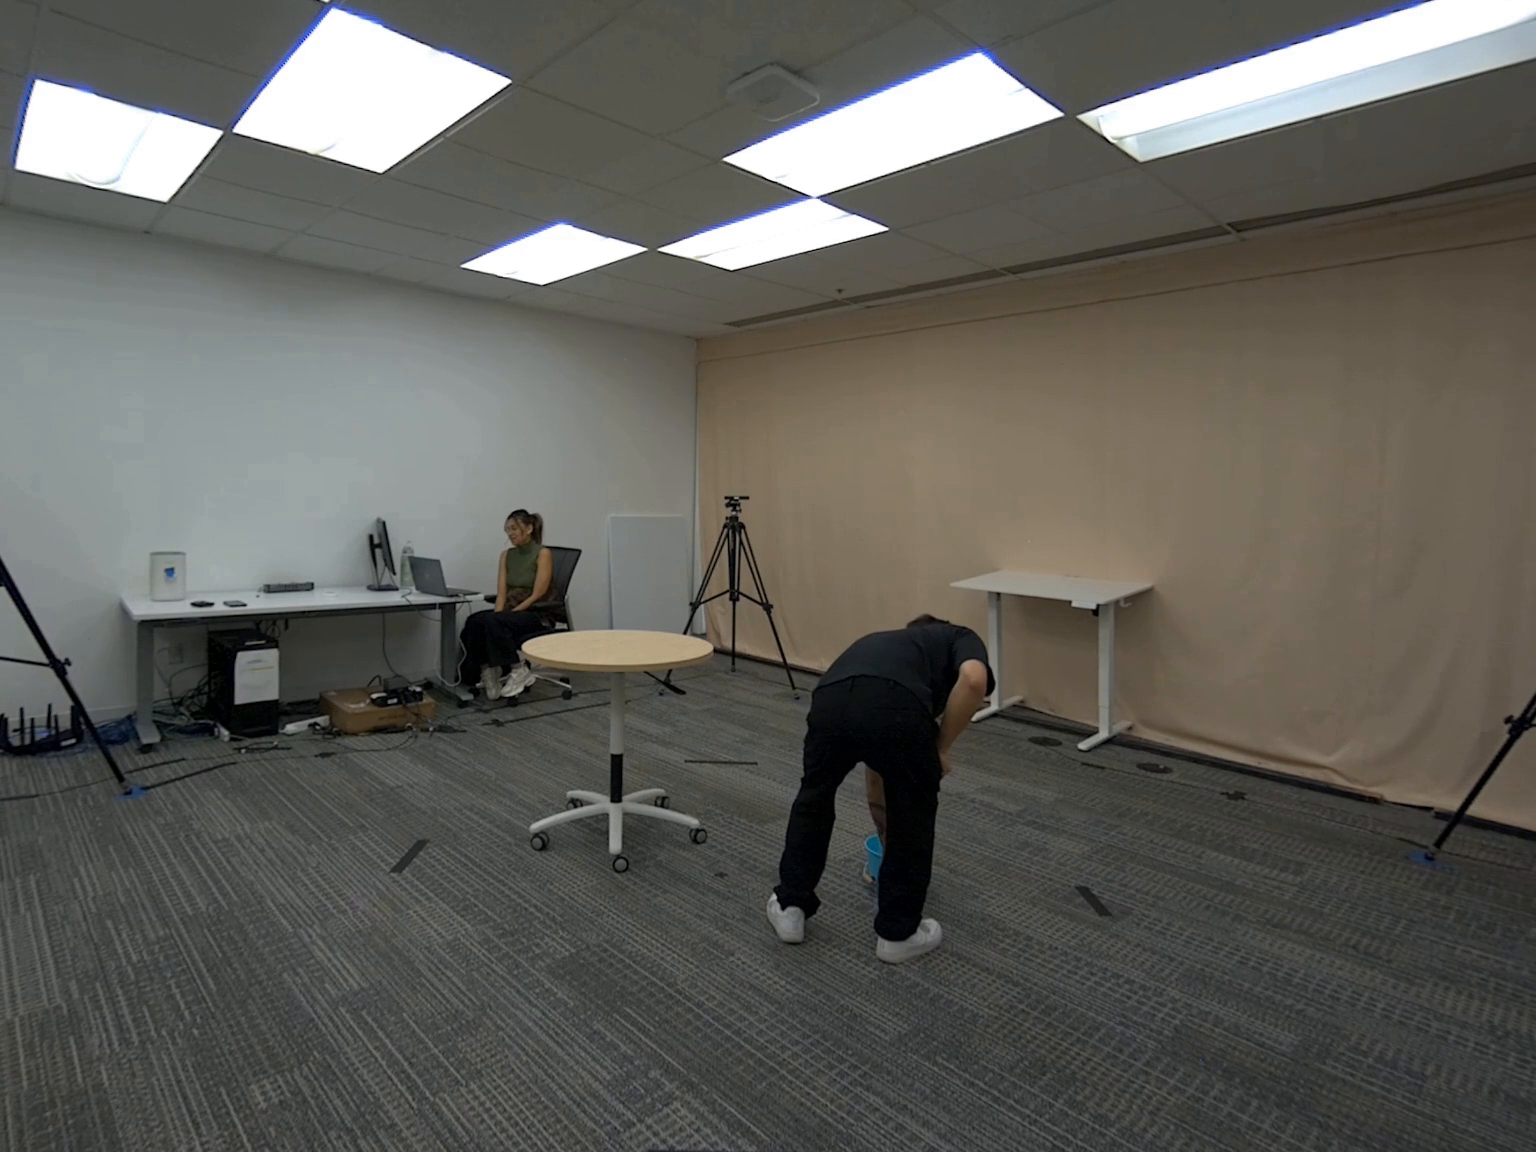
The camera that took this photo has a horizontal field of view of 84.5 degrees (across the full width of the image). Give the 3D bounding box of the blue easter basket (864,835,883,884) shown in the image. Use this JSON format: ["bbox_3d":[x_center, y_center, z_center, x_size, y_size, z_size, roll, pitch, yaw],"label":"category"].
[{"bbox_3d":[0.456,1.047,3.039,0.243,0.155,0.244,1,5,-1],"label":"blue easter basket"}]
